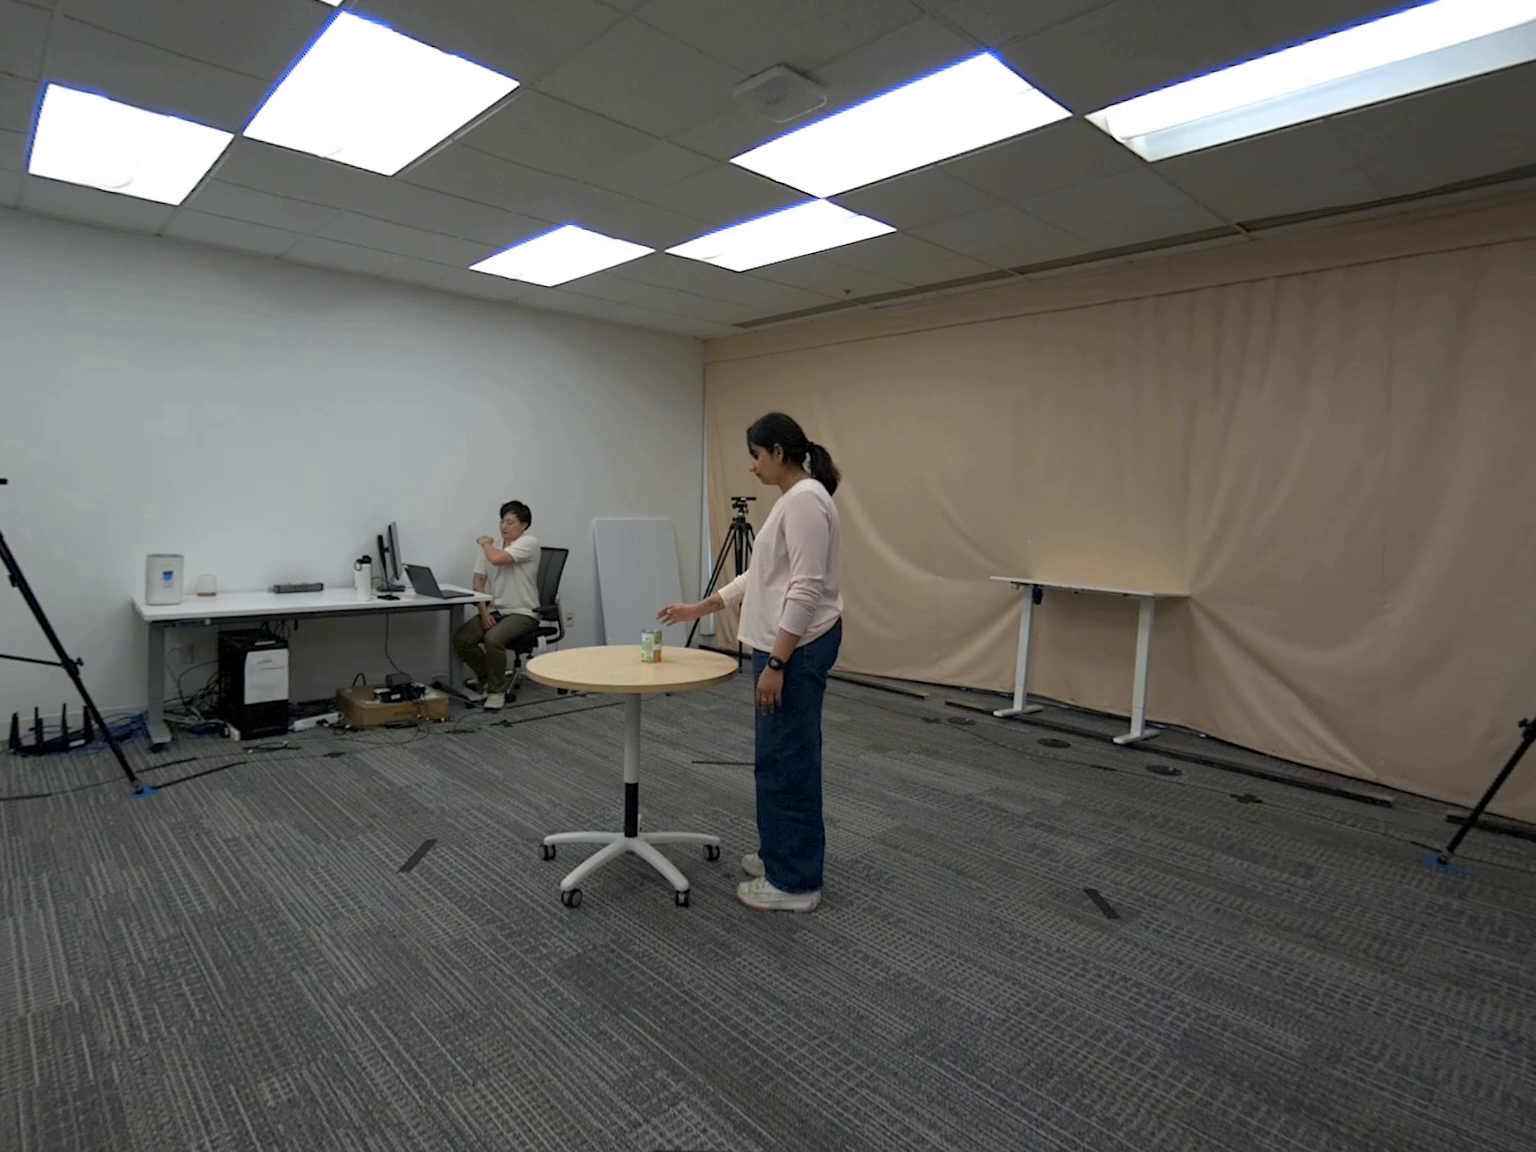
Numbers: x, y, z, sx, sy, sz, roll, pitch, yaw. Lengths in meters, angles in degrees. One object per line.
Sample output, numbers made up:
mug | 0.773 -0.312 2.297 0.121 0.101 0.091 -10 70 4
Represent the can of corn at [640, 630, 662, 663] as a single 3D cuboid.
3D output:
can of corn | -0.433 0.257 3.113 0.074 0.111 0.074 2 2 -1
